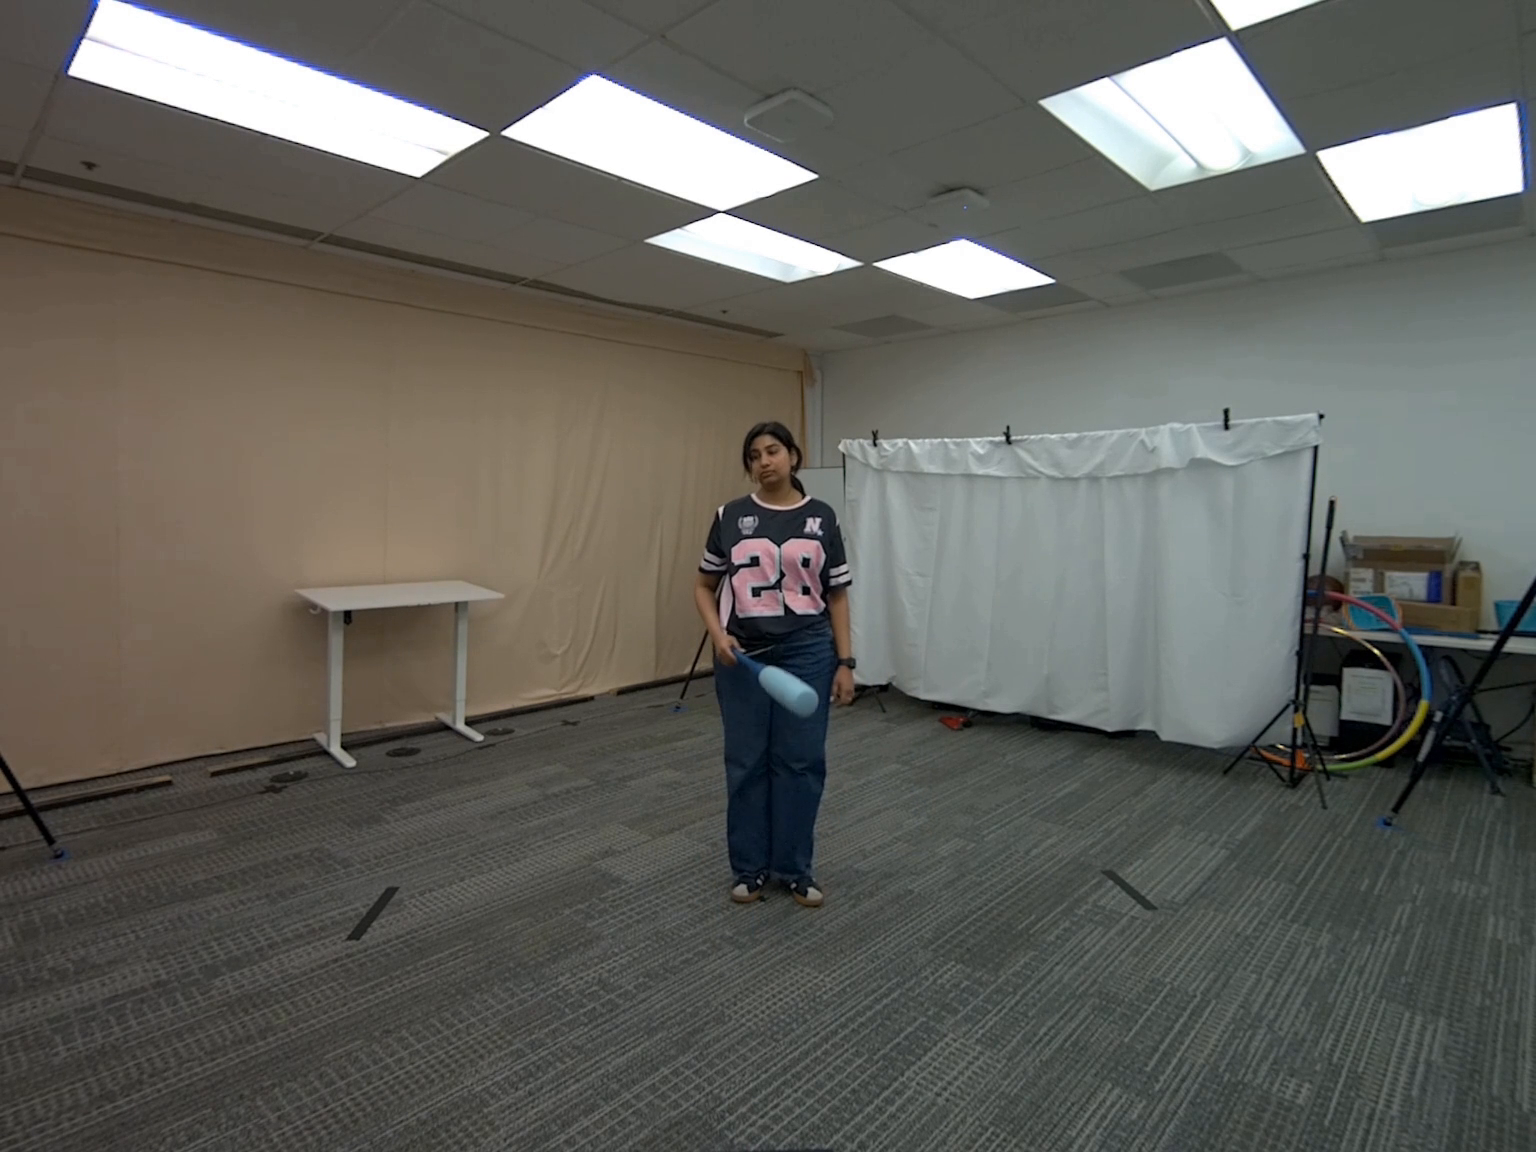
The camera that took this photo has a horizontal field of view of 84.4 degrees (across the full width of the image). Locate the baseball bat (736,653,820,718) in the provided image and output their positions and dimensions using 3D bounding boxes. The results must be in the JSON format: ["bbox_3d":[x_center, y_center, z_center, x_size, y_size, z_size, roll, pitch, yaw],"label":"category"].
[{"bbox_3d":[-0.001,0.309,2.622,0.087,0.088,0.557,-2,11,-22],"label":"baseball bat"}]
